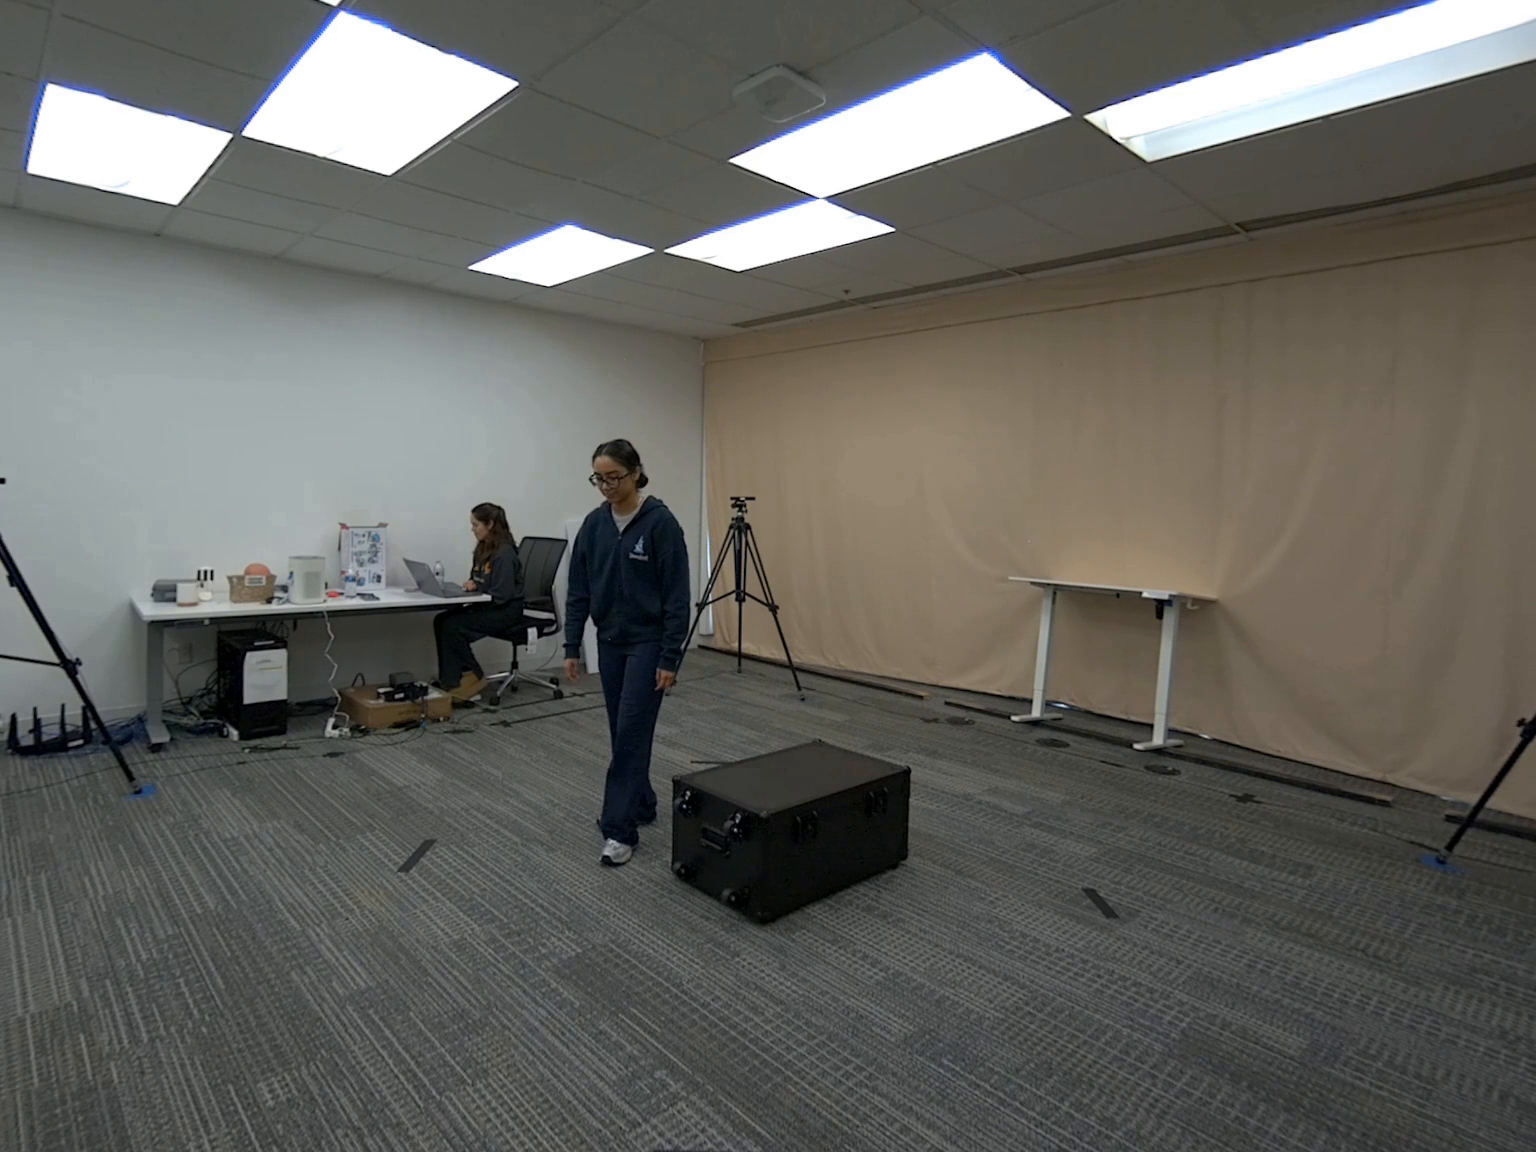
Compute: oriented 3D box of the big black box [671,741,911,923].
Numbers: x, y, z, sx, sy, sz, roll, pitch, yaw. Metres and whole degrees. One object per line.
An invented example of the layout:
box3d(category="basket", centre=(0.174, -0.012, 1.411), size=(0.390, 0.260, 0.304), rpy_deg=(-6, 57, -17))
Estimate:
box3d(category="big black box", centre=(0.068, 0.917, 3.127), size=(0.841, 0.395, 0.534), rpy_deg=(-2, 5, -44))
